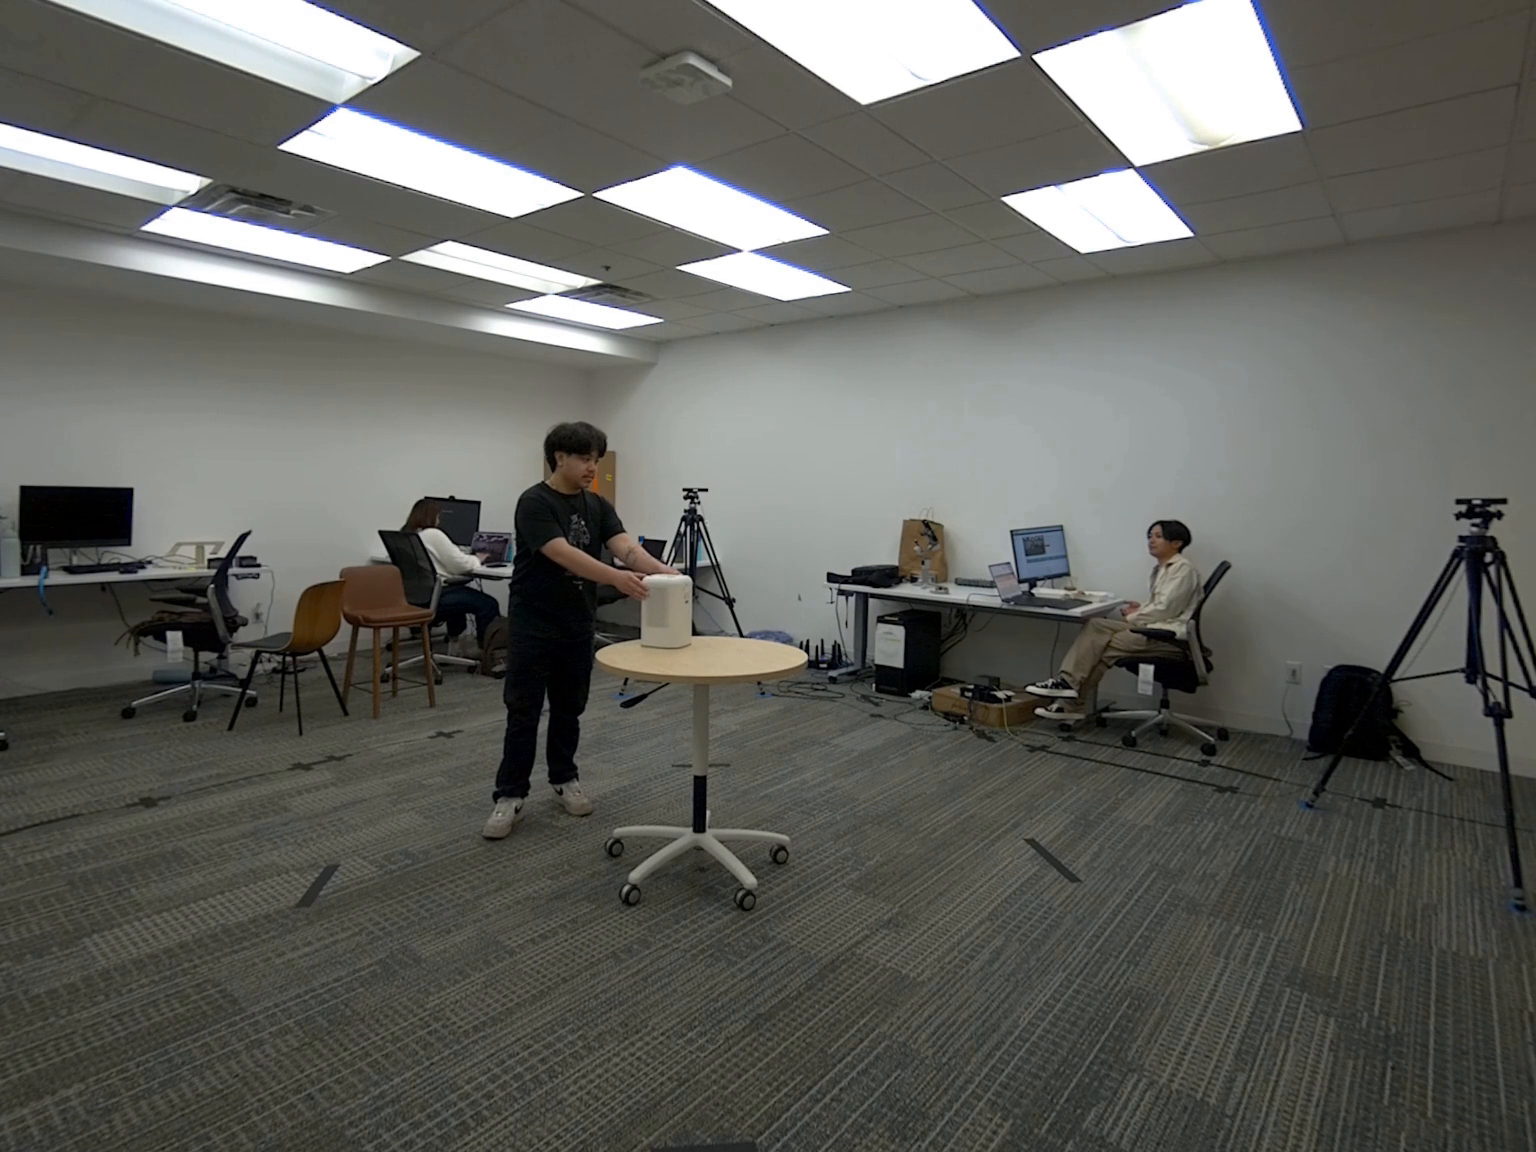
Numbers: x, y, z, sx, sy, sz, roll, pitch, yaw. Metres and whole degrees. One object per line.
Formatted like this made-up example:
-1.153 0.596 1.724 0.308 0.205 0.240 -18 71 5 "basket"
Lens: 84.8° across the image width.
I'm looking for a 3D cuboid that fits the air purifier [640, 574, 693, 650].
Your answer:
-0.398 0.129 3.255 0.176 0.265 0.167 2 2 22 "air purifier"
